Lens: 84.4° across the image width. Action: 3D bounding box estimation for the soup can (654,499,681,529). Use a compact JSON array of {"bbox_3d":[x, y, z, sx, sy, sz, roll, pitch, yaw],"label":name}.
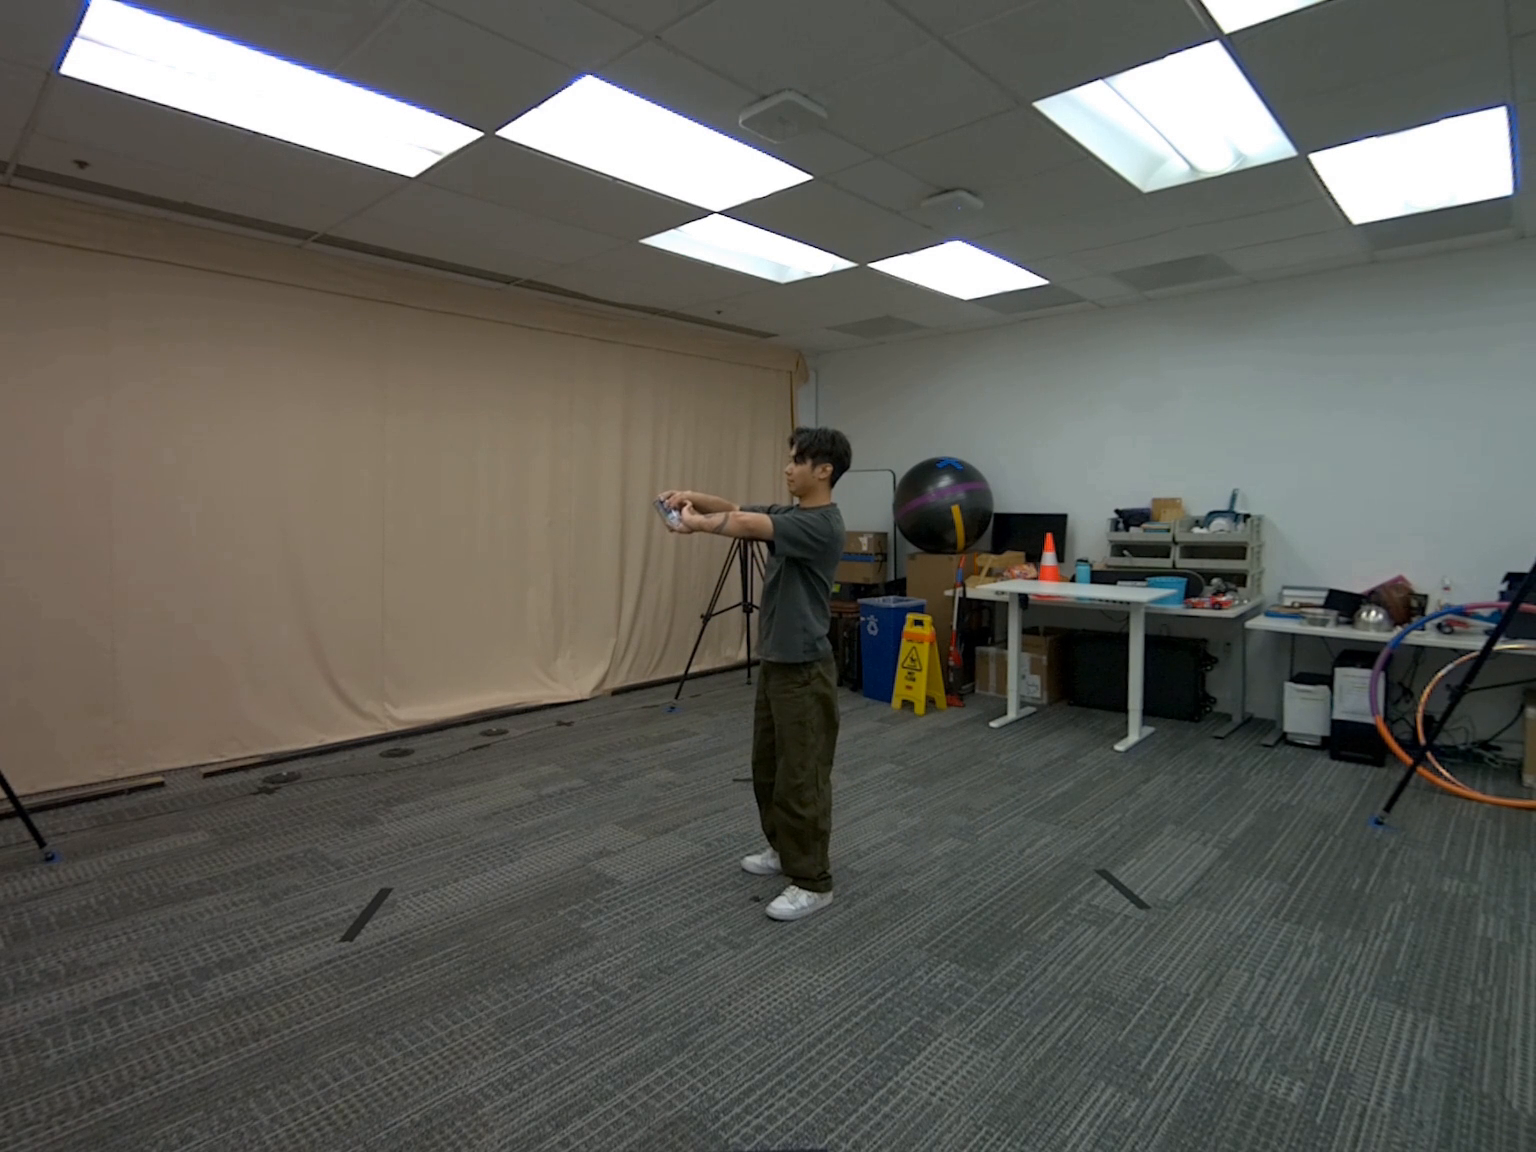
[{"bbox_3d":[-0.348,-0.212,2.952,0.067,0.123,0.066,-25,-13,-8],"label":"soup can"}]
